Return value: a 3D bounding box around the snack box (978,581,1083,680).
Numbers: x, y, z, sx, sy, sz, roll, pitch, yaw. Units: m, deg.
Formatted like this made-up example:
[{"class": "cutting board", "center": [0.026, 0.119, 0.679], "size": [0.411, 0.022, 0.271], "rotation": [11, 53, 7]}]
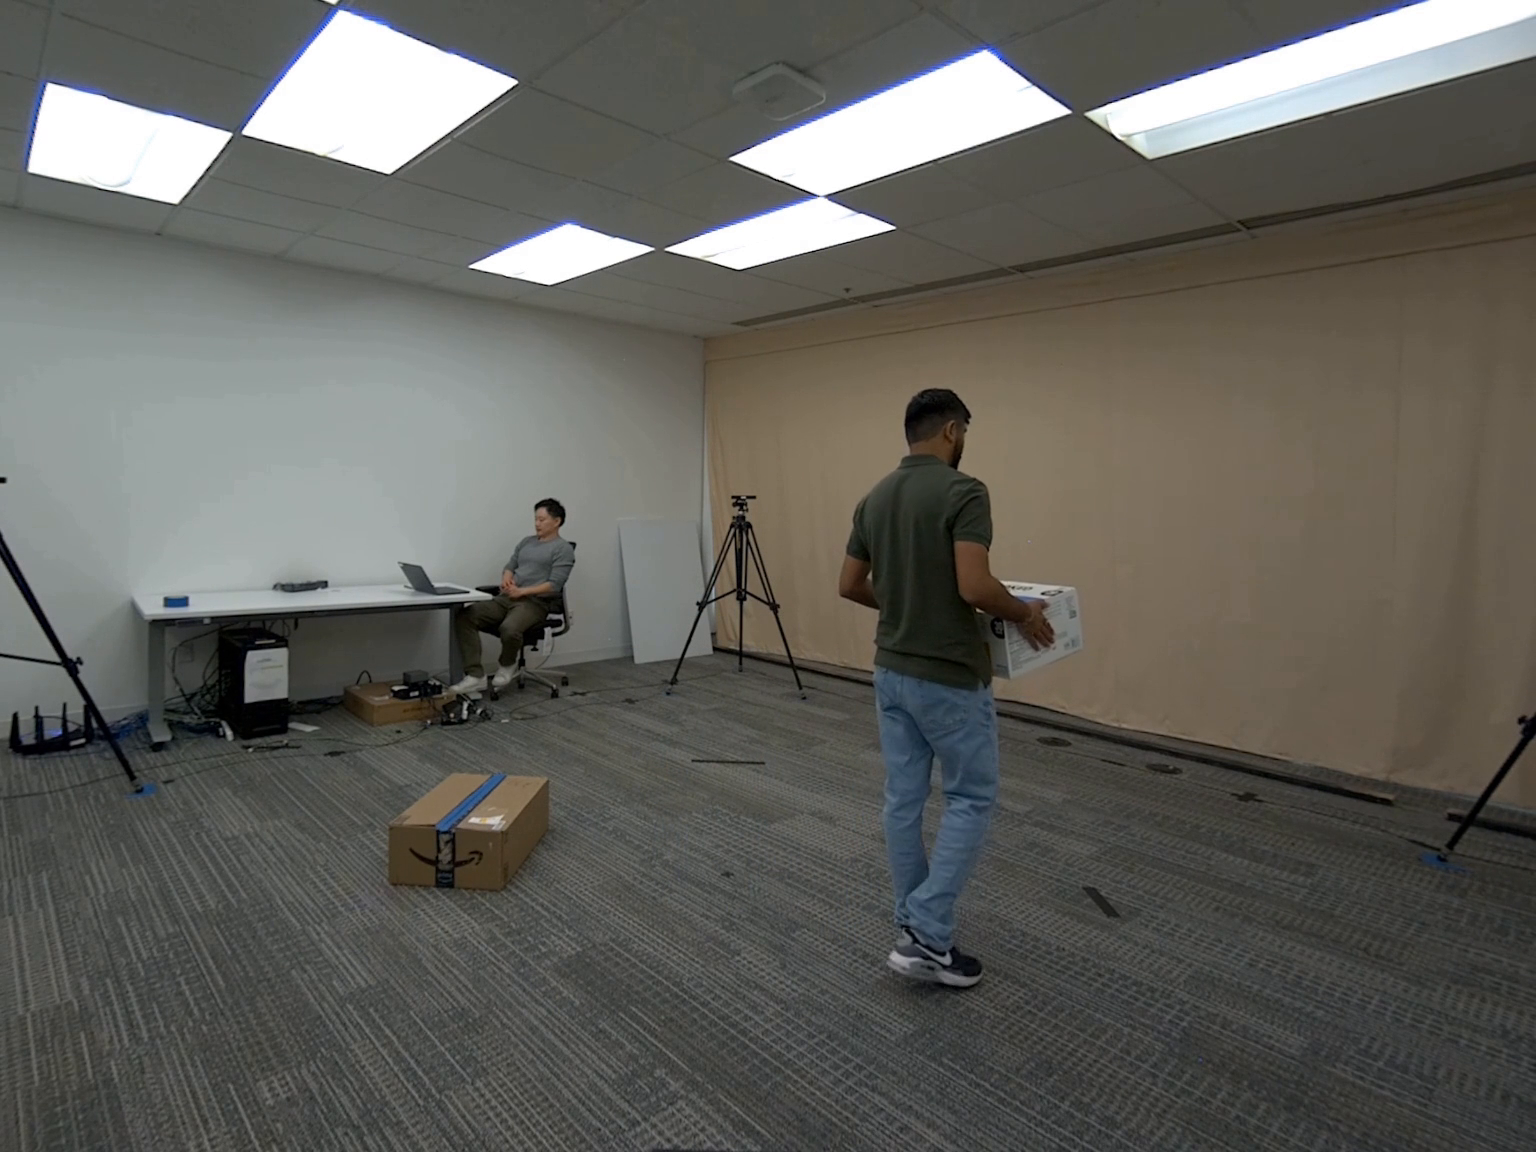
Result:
[{"class": "snack box", "center": [0.715, 0.161, 2.706], "size": [0.335, 0.204, 0.414], "rotation": [-15, 11, -31]}]
